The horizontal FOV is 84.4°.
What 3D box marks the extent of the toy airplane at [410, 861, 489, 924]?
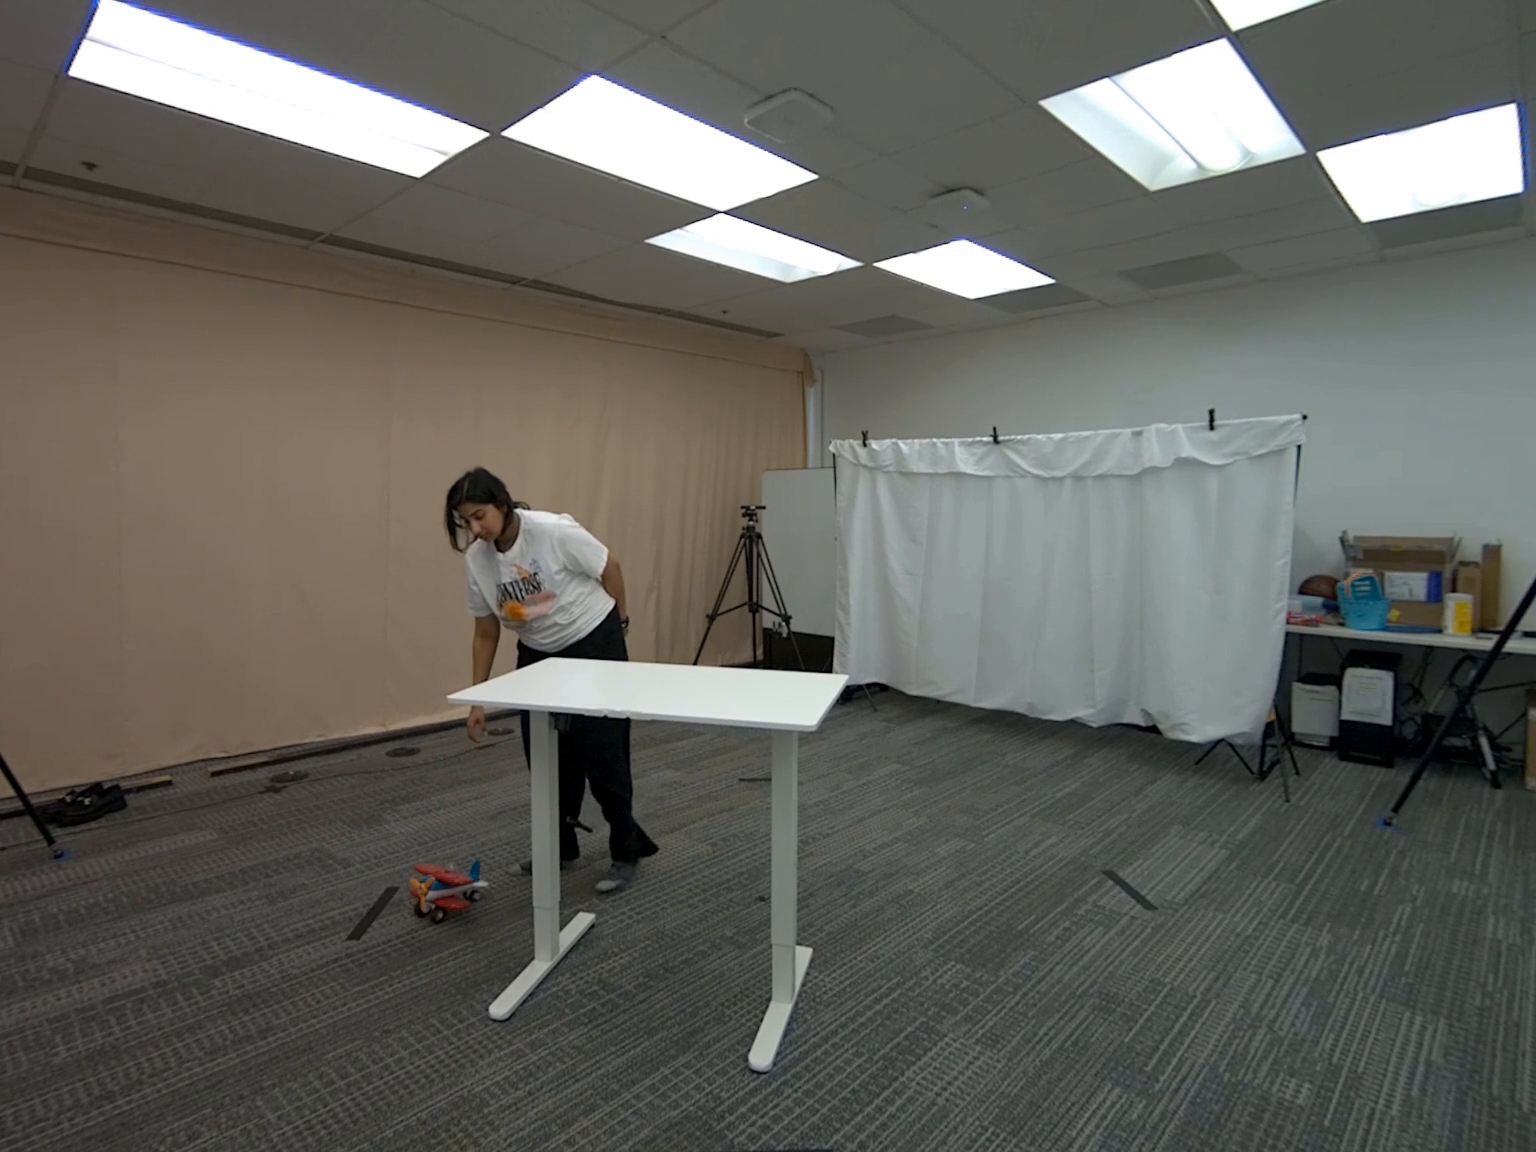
[{"bbox_3d":[-1.130,1.088,2.922,0.252,0.156,0.259,-1,4,4],"label":"toy airplane"}]
